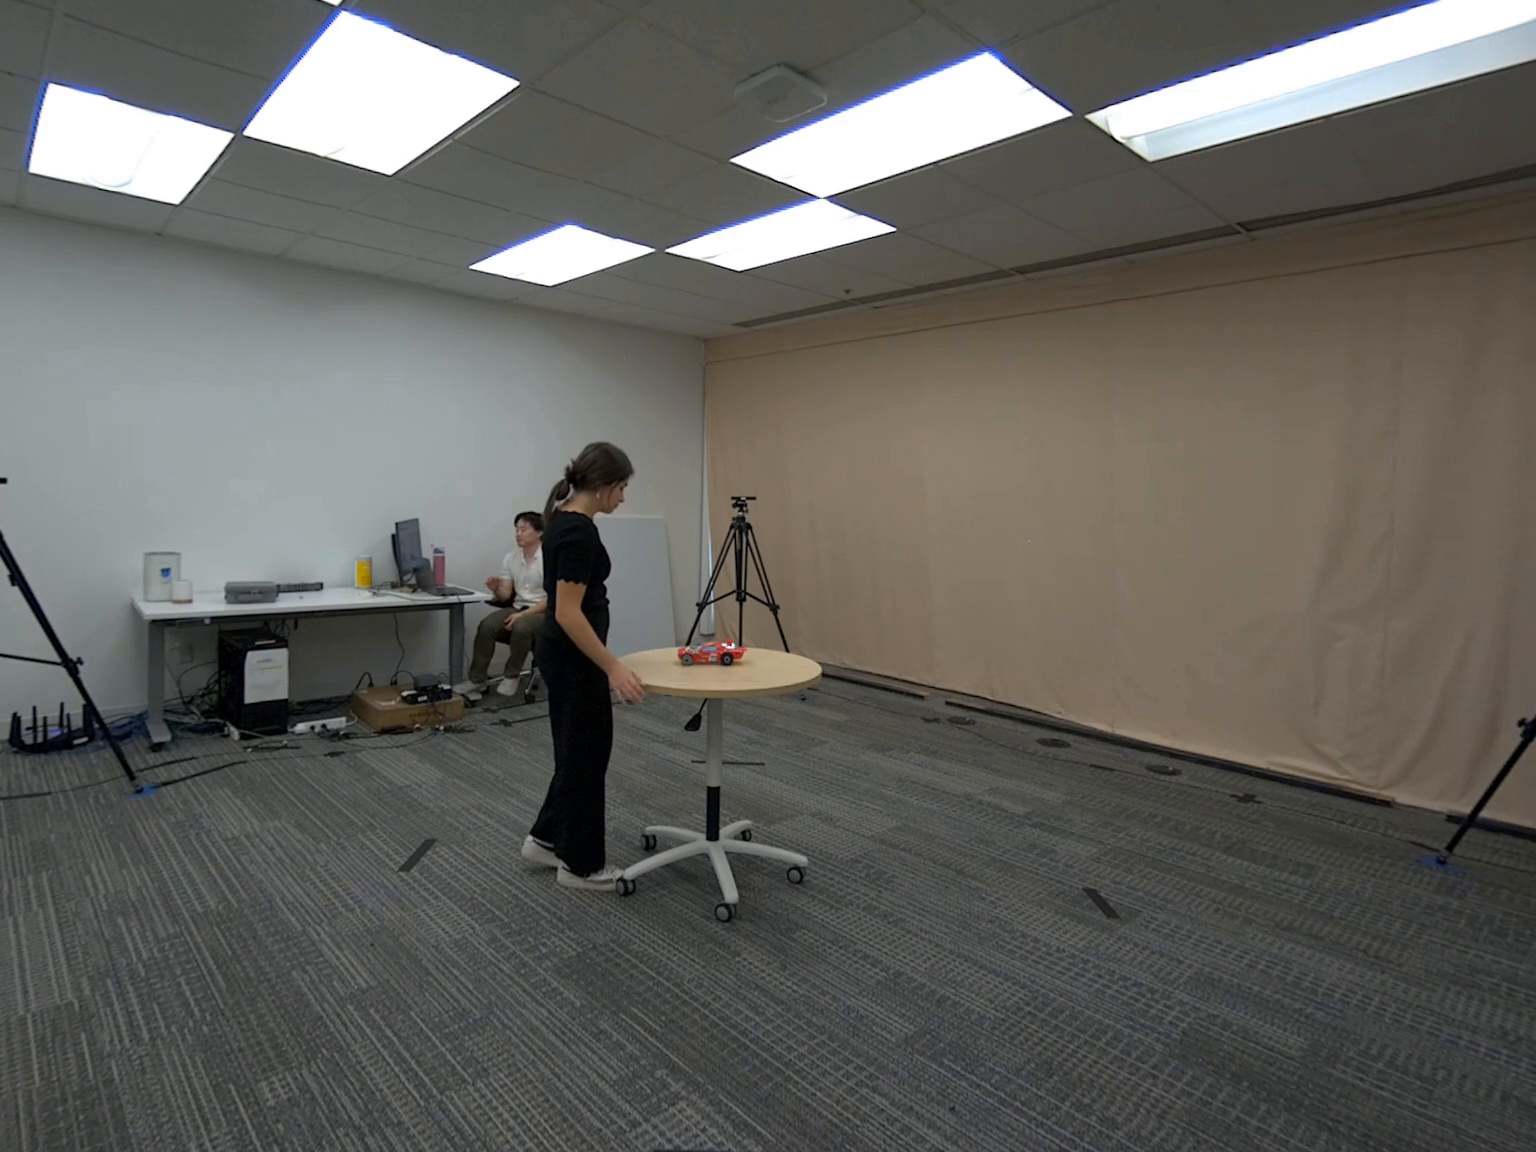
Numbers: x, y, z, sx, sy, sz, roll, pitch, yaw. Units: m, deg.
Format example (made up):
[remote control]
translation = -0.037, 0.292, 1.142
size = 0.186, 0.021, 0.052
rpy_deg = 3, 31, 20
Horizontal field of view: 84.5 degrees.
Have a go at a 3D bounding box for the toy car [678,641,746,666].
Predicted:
[toy car]
translation = -0.211, 0.287, 3.094
size = 0.254, 0.083, 0.131
rpy_deg = -11, 5, -1
